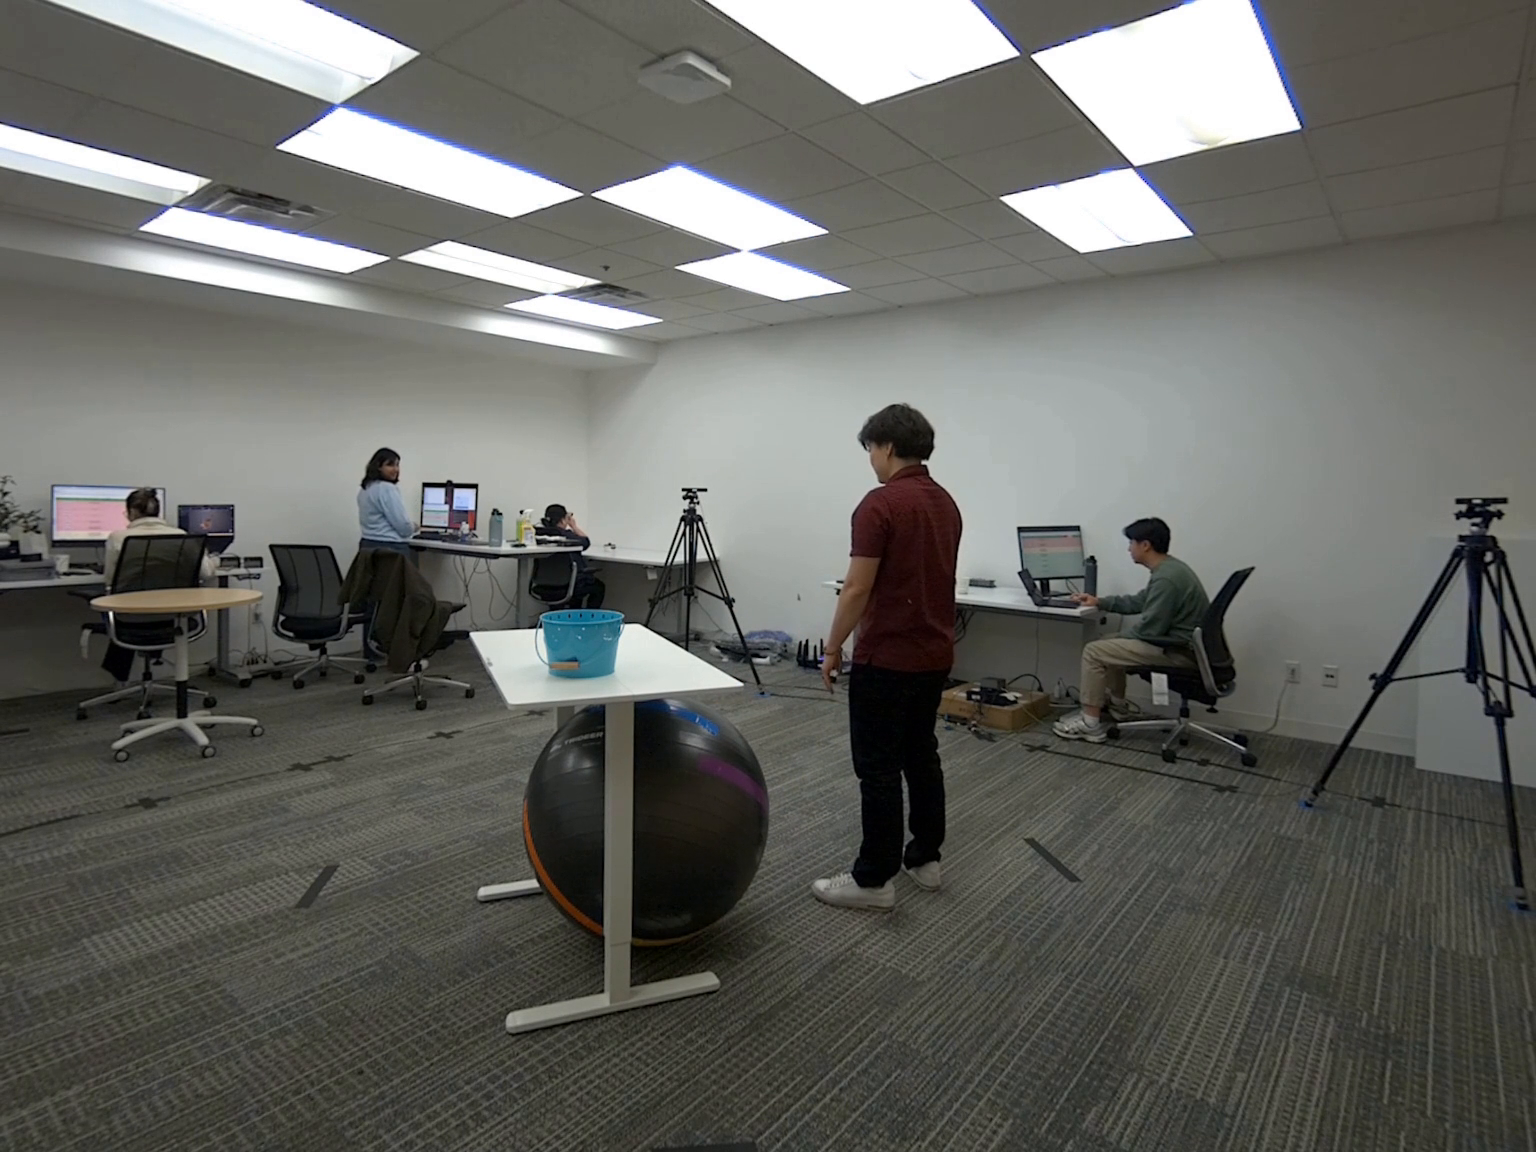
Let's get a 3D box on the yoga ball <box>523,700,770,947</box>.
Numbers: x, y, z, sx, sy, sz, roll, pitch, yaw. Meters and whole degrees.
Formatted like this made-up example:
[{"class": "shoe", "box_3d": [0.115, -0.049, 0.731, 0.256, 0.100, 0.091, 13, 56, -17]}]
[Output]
[{"class": "yoga ball", "box_3d": [-0.384, 0.739, 2.655, 0.757, 0.756, 0.762, 1, 4, -2]}]
